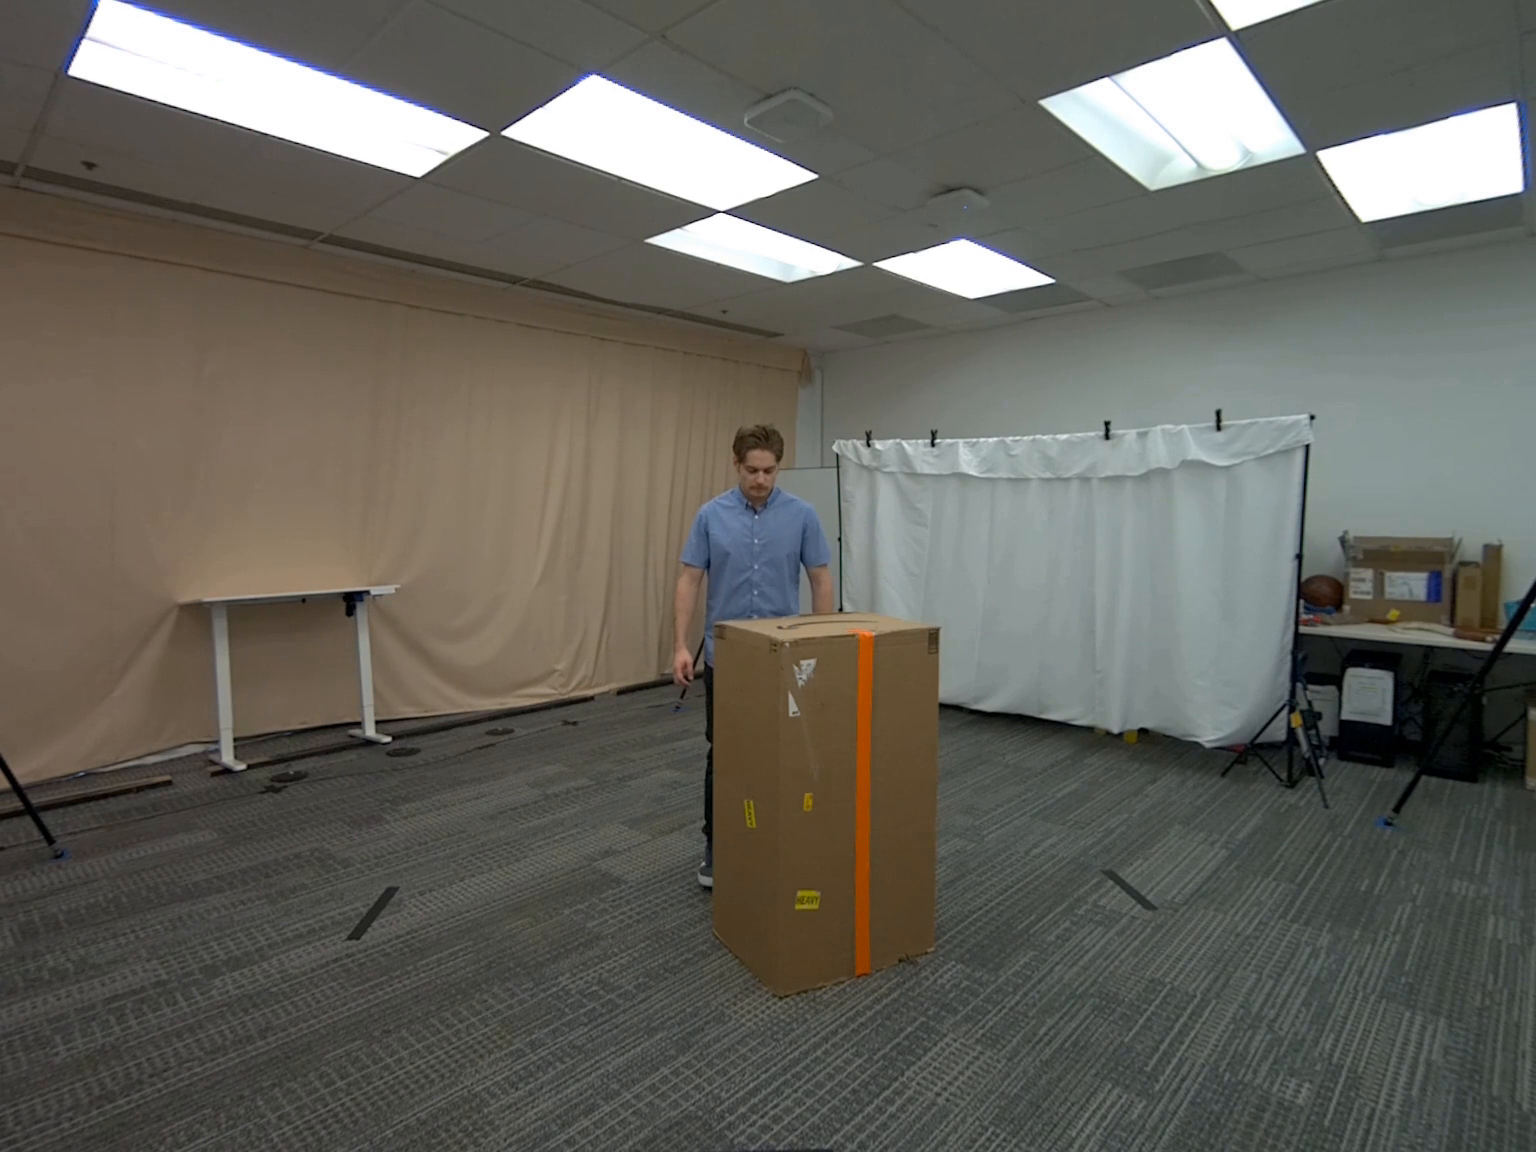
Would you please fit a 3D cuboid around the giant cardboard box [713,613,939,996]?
[{"bbox_3d":[0.184,0.659,2.664,0.562,1.024,0.438,-2,3,-29],"label":"giant cardboard box"}]
